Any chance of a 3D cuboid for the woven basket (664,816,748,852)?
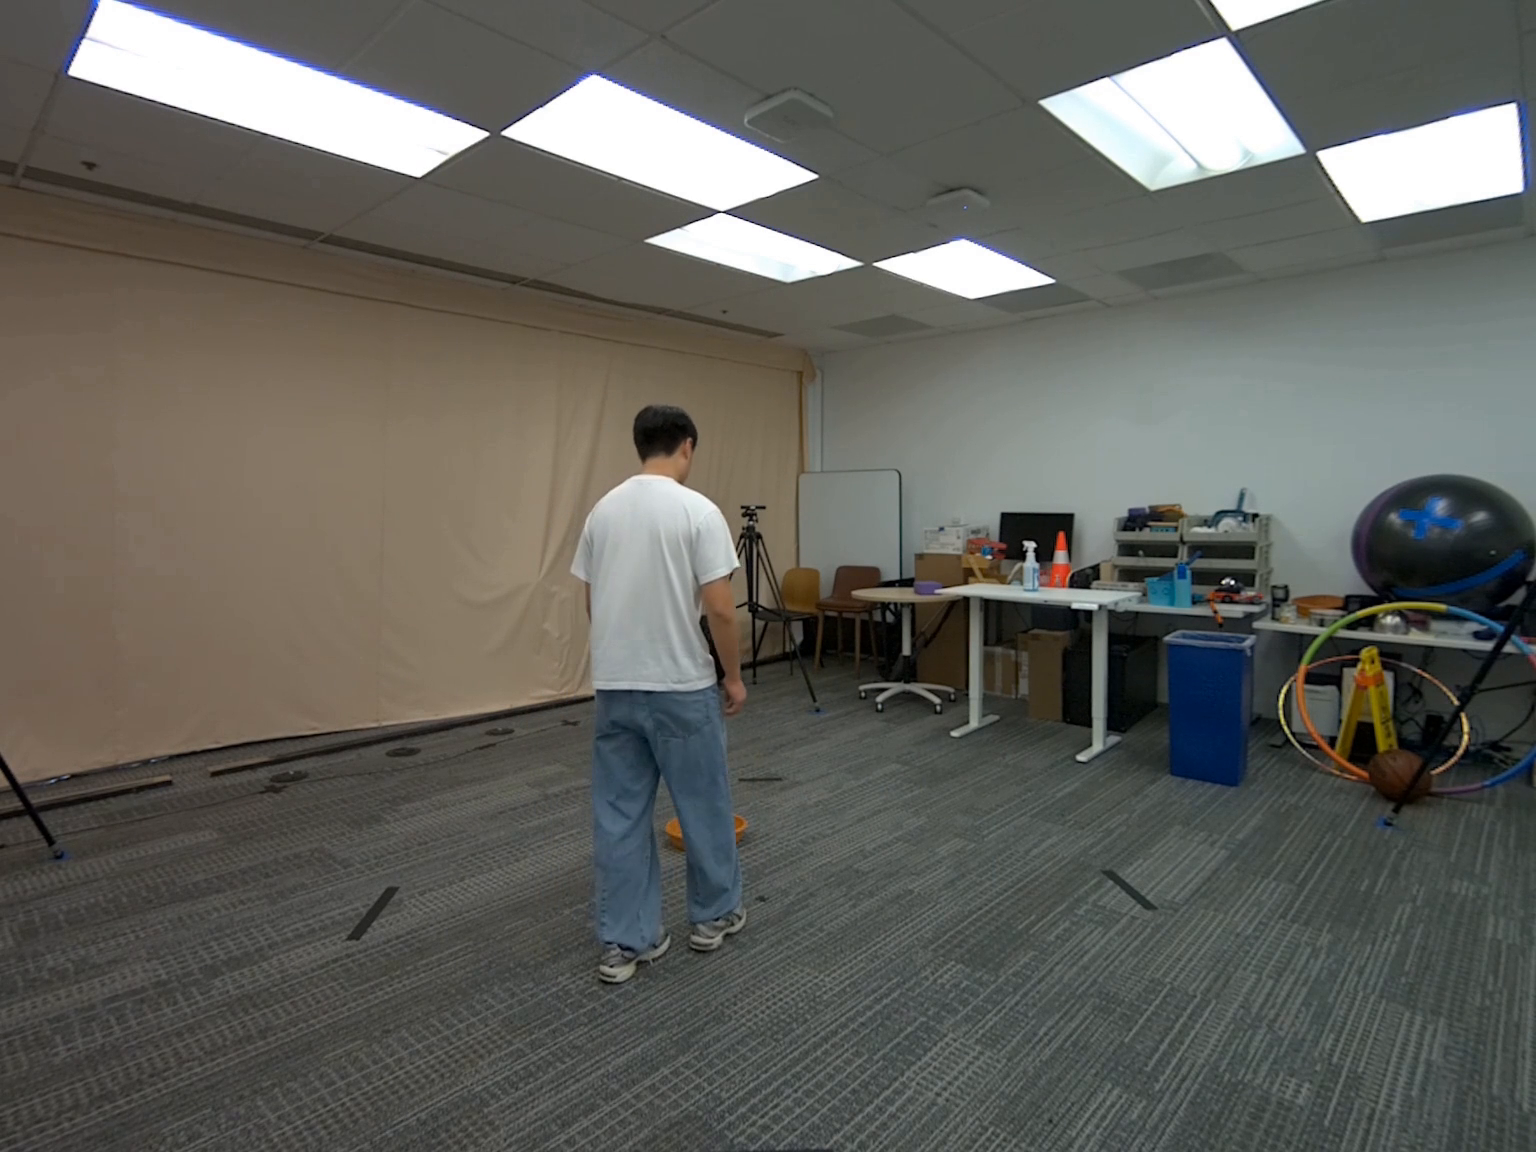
[{"bbox_3d":[-0.257,1.061,3.497,0.344,0.073,0.258,-2,5,-19],"label":"woven basket"}]
